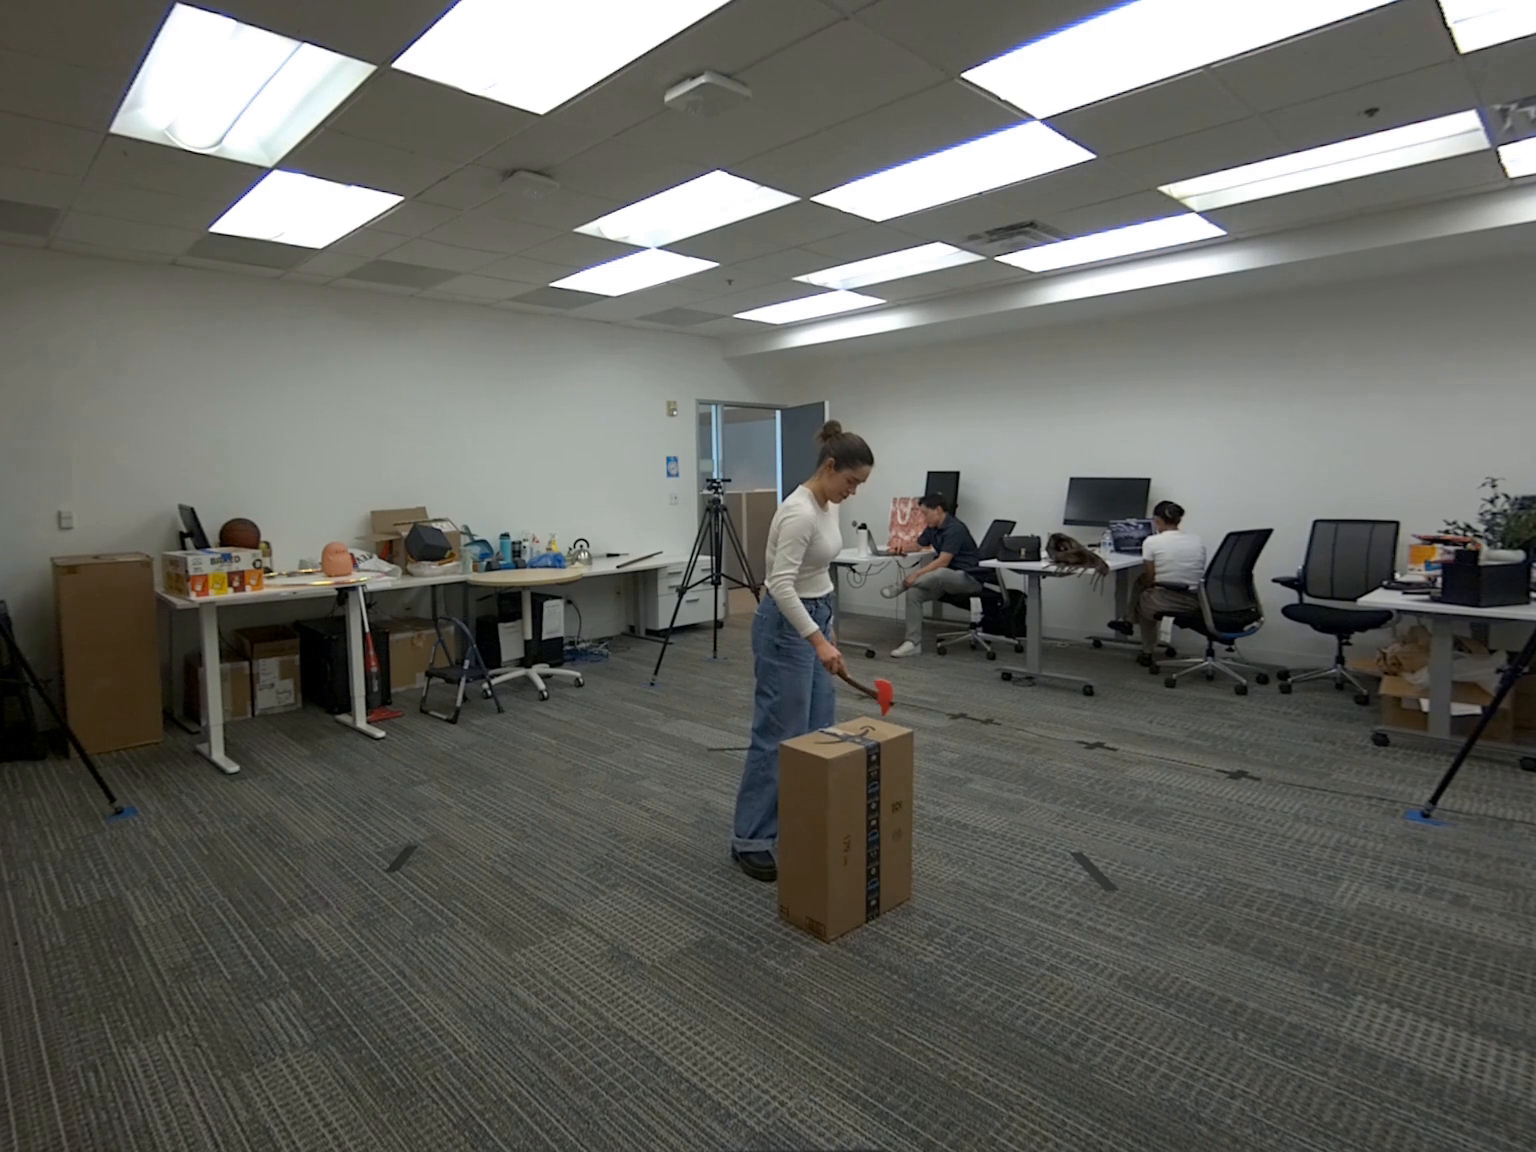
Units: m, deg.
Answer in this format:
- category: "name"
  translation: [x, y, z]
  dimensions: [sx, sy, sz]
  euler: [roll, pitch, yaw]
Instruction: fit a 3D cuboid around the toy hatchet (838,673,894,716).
- category: "toy hatchet"
  translation: [0.309, 0.345, 2.826]
  dimensions: [0.029, 0.129, 0.278]
  euler: [-22, 56, -43]
